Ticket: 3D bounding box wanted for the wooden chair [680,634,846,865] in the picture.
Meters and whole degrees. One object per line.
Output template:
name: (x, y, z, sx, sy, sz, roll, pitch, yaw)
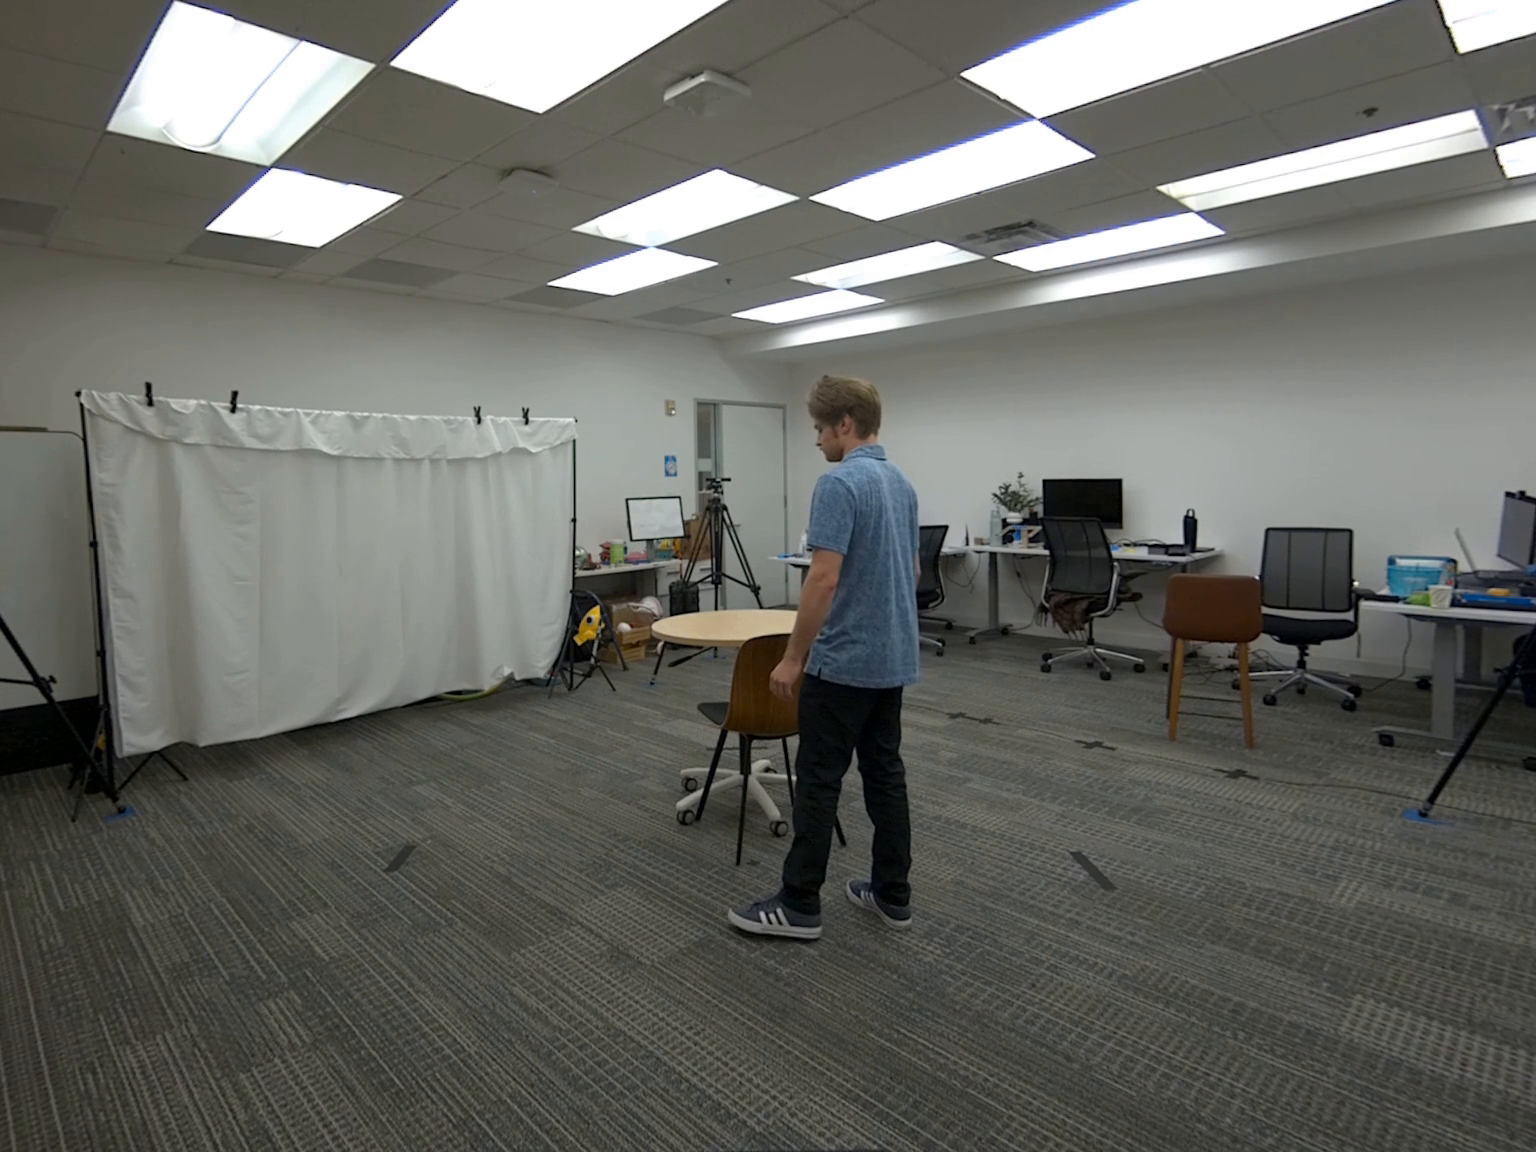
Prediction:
wooden chair: (-0.009, 0.587, 3.339, 0.469, 0.871, 0.537, -3, 9, -23)
